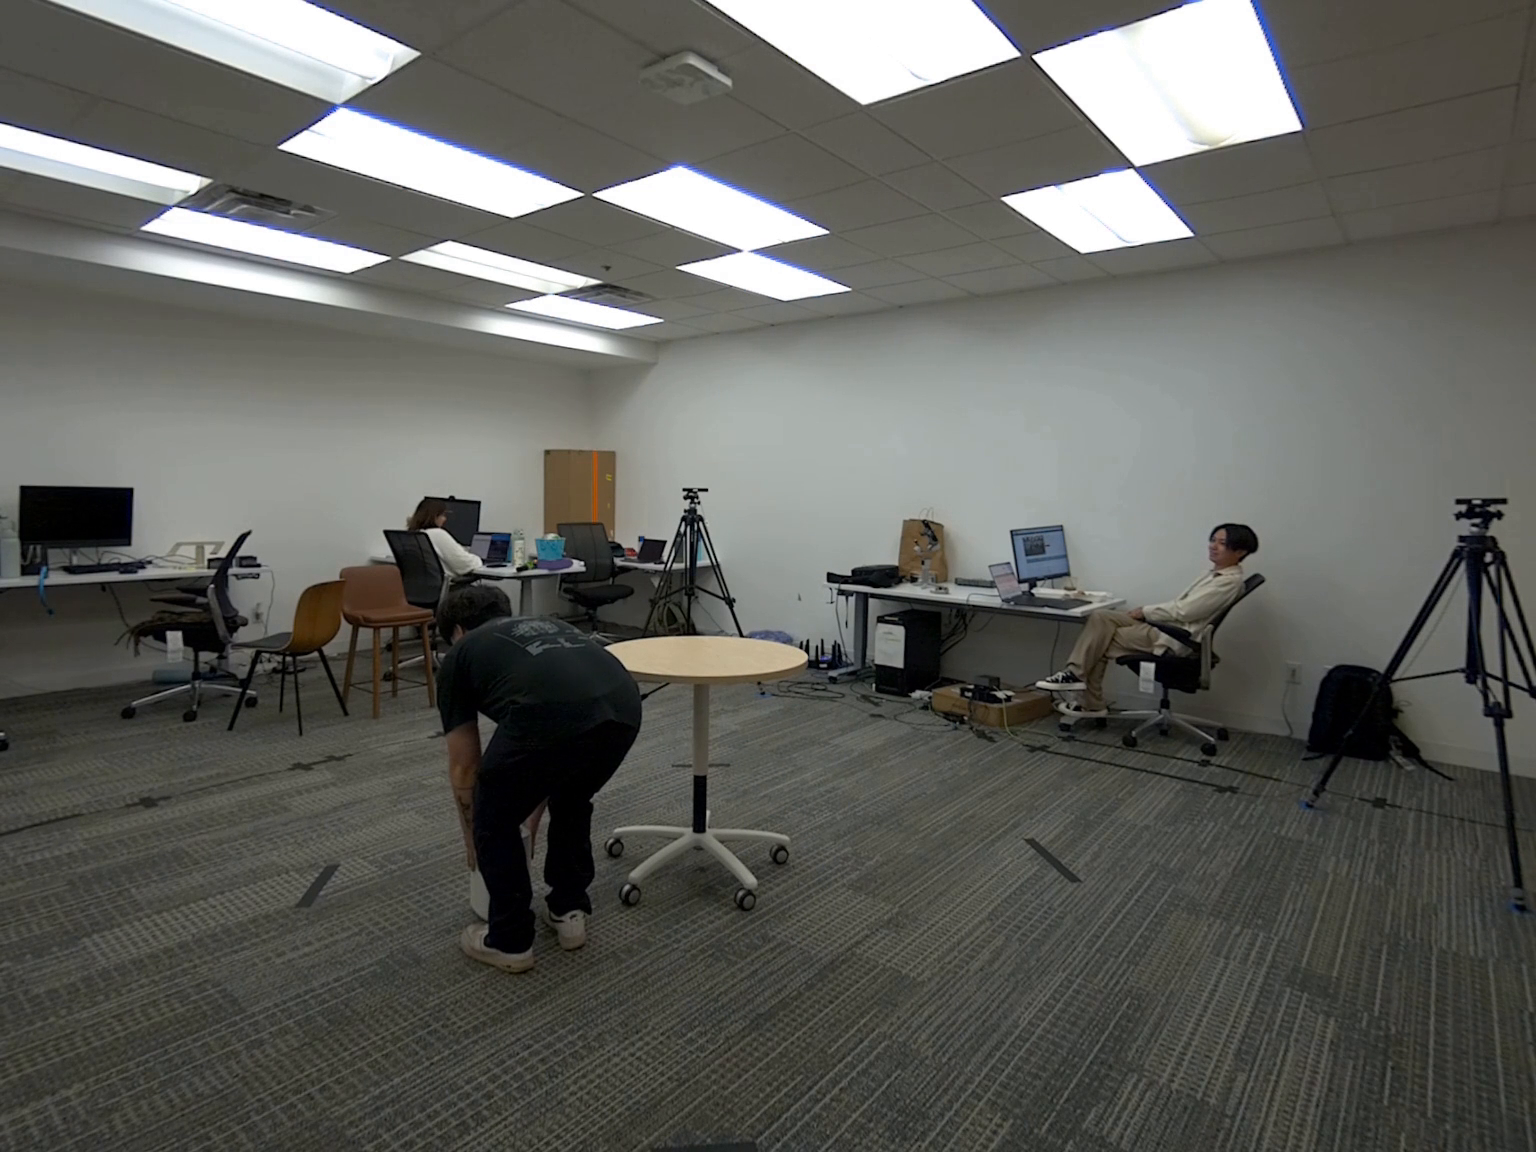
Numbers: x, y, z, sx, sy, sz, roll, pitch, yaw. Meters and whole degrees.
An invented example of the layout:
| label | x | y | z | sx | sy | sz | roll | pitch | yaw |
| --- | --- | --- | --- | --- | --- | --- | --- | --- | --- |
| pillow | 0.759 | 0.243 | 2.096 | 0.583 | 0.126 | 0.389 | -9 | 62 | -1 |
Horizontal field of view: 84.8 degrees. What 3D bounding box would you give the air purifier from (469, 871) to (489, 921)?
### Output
| label | x | y | z | sx | sy | sz | roll | pitch | yaw |
| --- | --- | --- | --- | --- | --- | --- | --- | --- | --- |
| air purifier | -0.875 | 0.949 | 2.766 | 0.166 | 0.264 | 0.177 | -3 | 6 | -42 |
